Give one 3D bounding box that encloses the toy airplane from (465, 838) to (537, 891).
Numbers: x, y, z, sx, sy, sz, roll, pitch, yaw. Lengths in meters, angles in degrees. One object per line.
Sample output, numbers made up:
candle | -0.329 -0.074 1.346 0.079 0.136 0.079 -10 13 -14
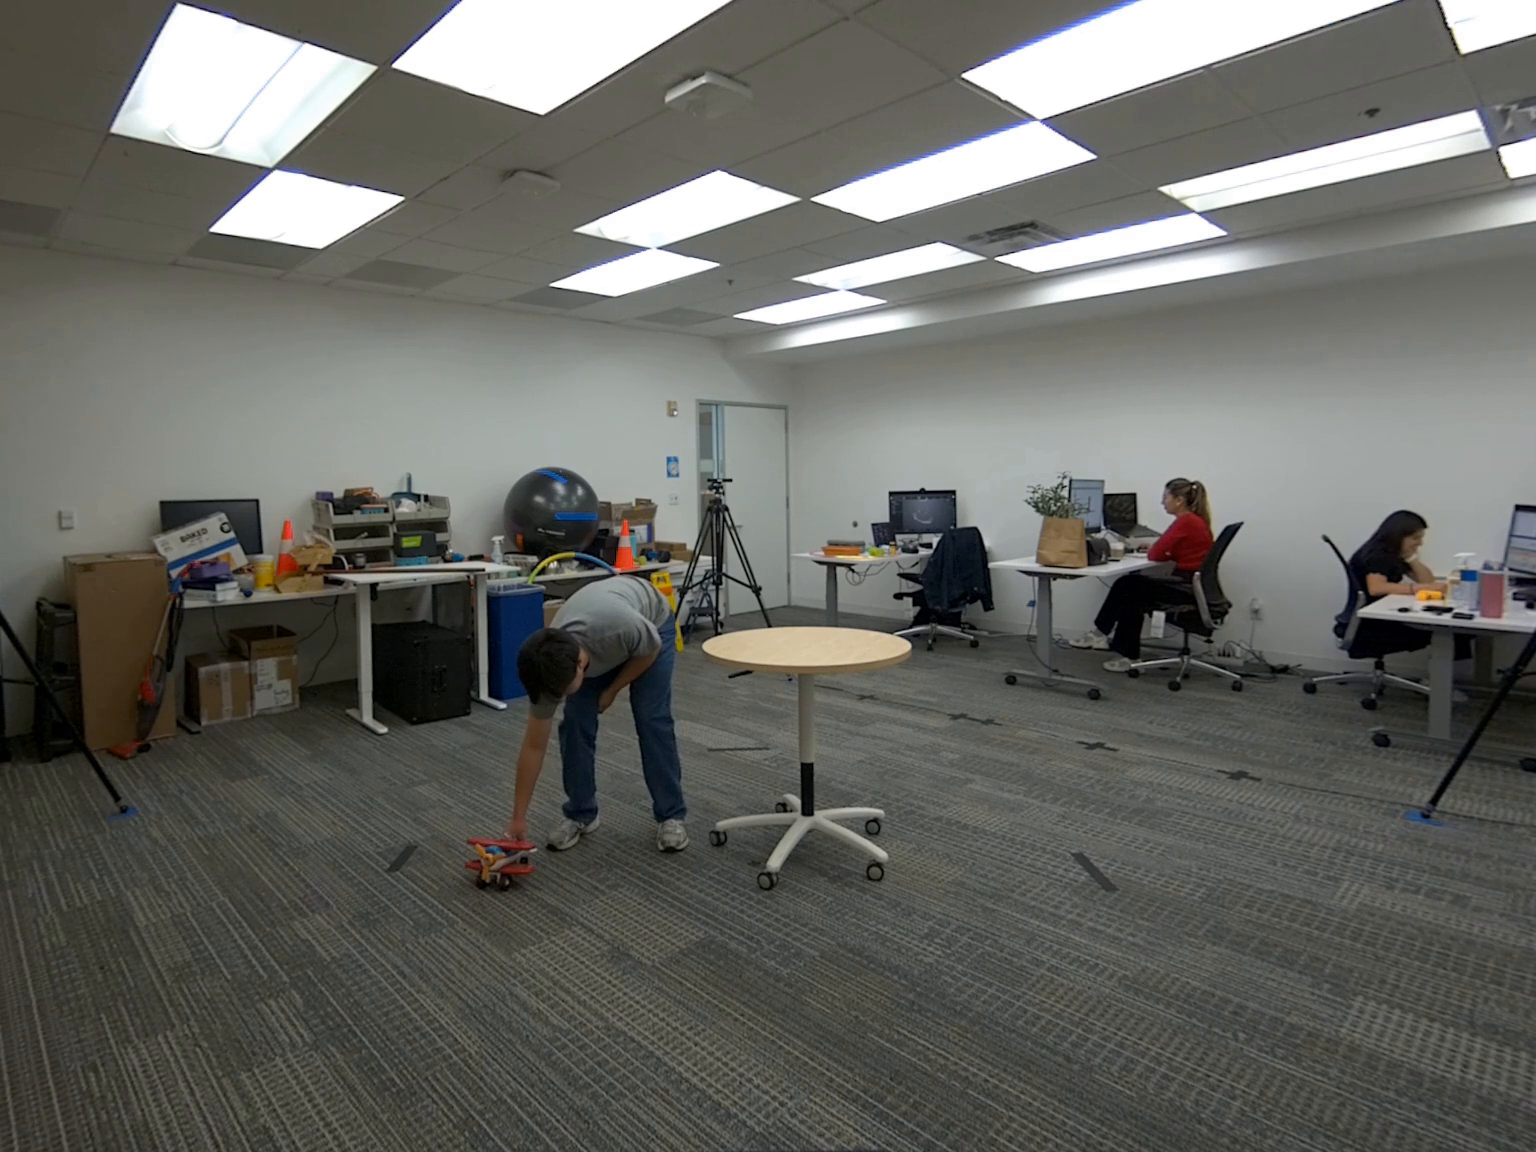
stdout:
toy airplane | -0.950 0.999 3.034 0.248 0.155 0.264 -2 7 -14
